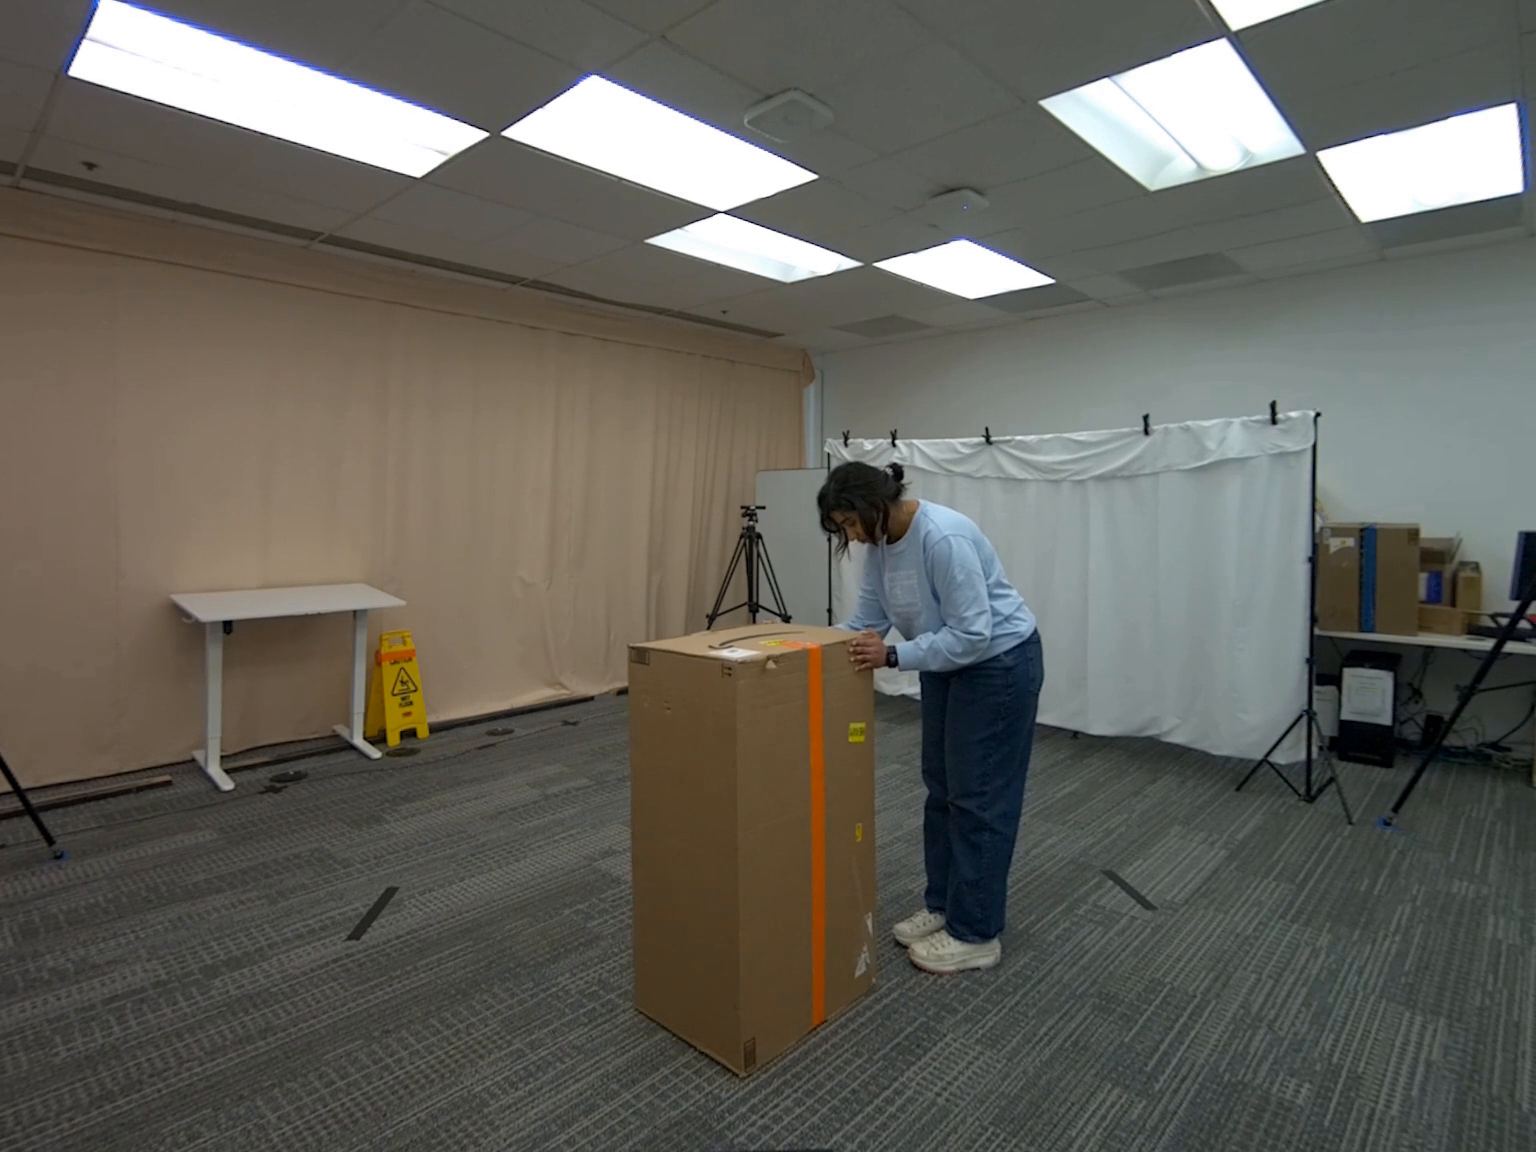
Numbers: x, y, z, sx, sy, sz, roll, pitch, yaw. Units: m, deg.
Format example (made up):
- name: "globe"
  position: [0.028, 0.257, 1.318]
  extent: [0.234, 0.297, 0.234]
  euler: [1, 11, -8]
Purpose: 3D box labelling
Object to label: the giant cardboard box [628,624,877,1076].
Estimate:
- name: "giant cardboard box"
  position: [-0.033, 0.691, 2.366]
  extent: [0.440, 1.024, 0.560]
  euler: [2, 4, 43]
